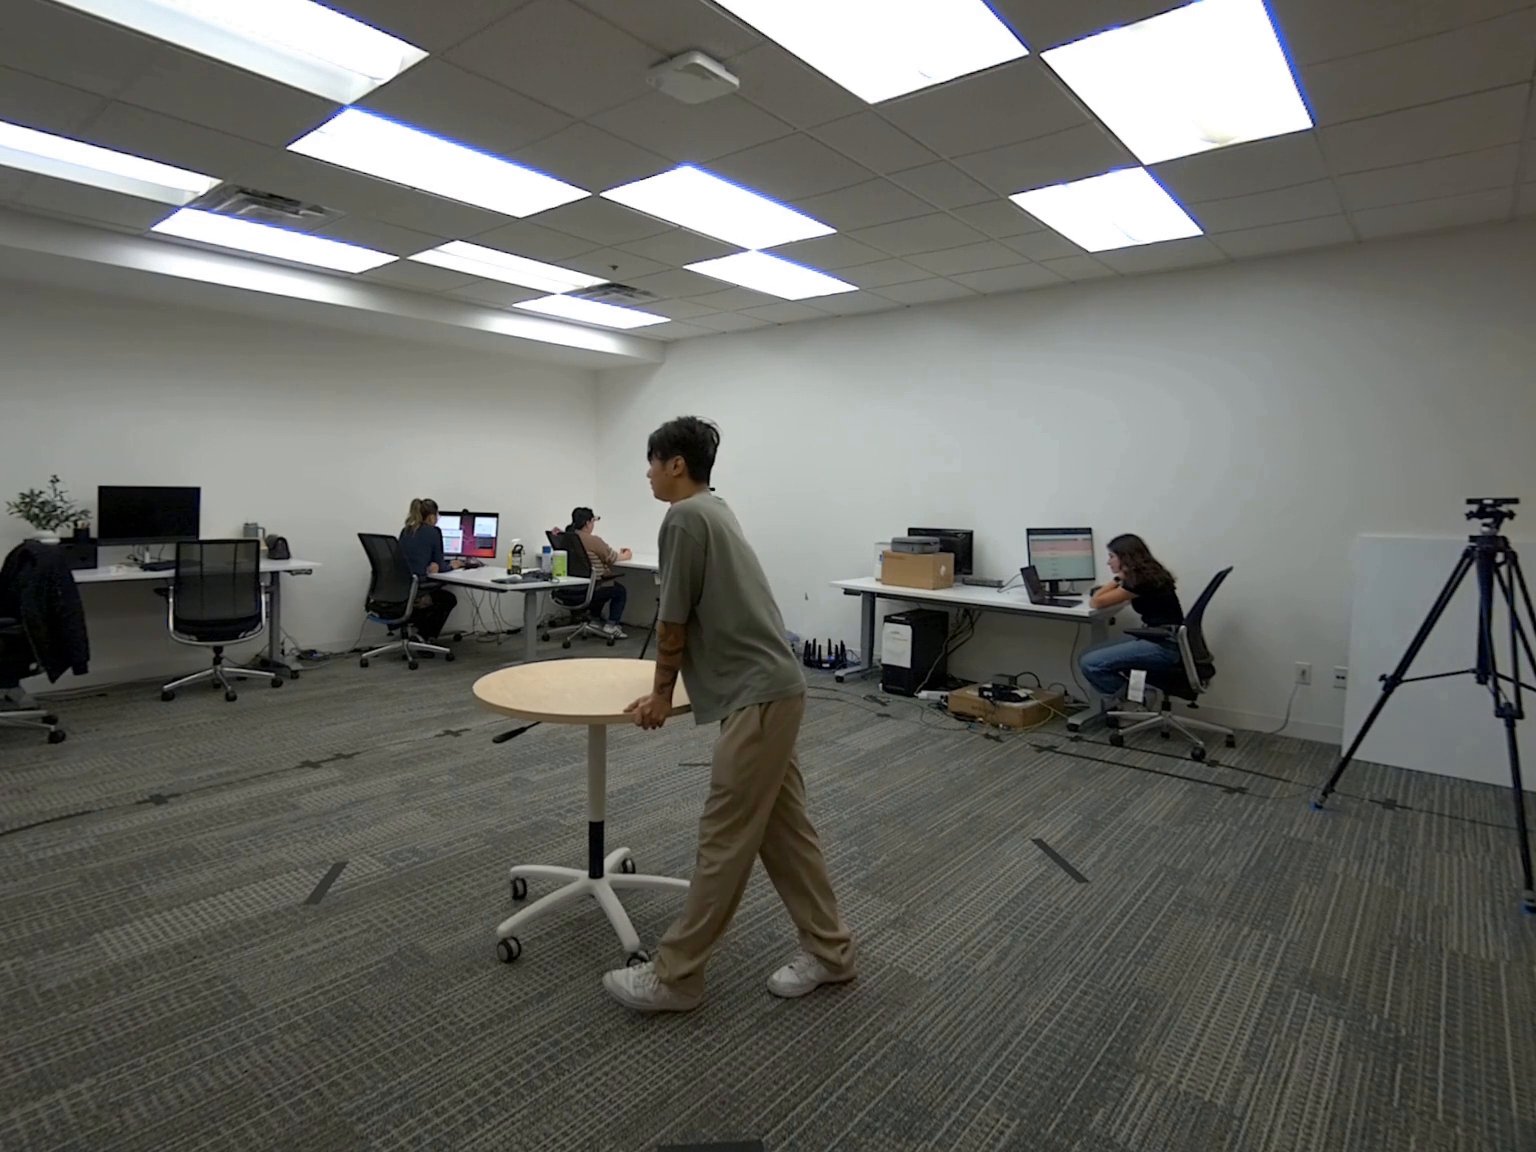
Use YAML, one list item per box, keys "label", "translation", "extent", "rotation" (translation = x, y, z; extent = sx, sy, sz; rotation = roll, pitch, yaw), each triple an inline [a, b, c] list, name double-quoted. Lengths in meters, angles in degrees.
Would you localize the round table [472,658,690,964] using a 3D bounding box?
- label: "round table"
  translation: [-0.547, 0.718, 2.726]
  extent: [0.784, 0.784, 0.789]
  rotation: [1, 4, -2]
